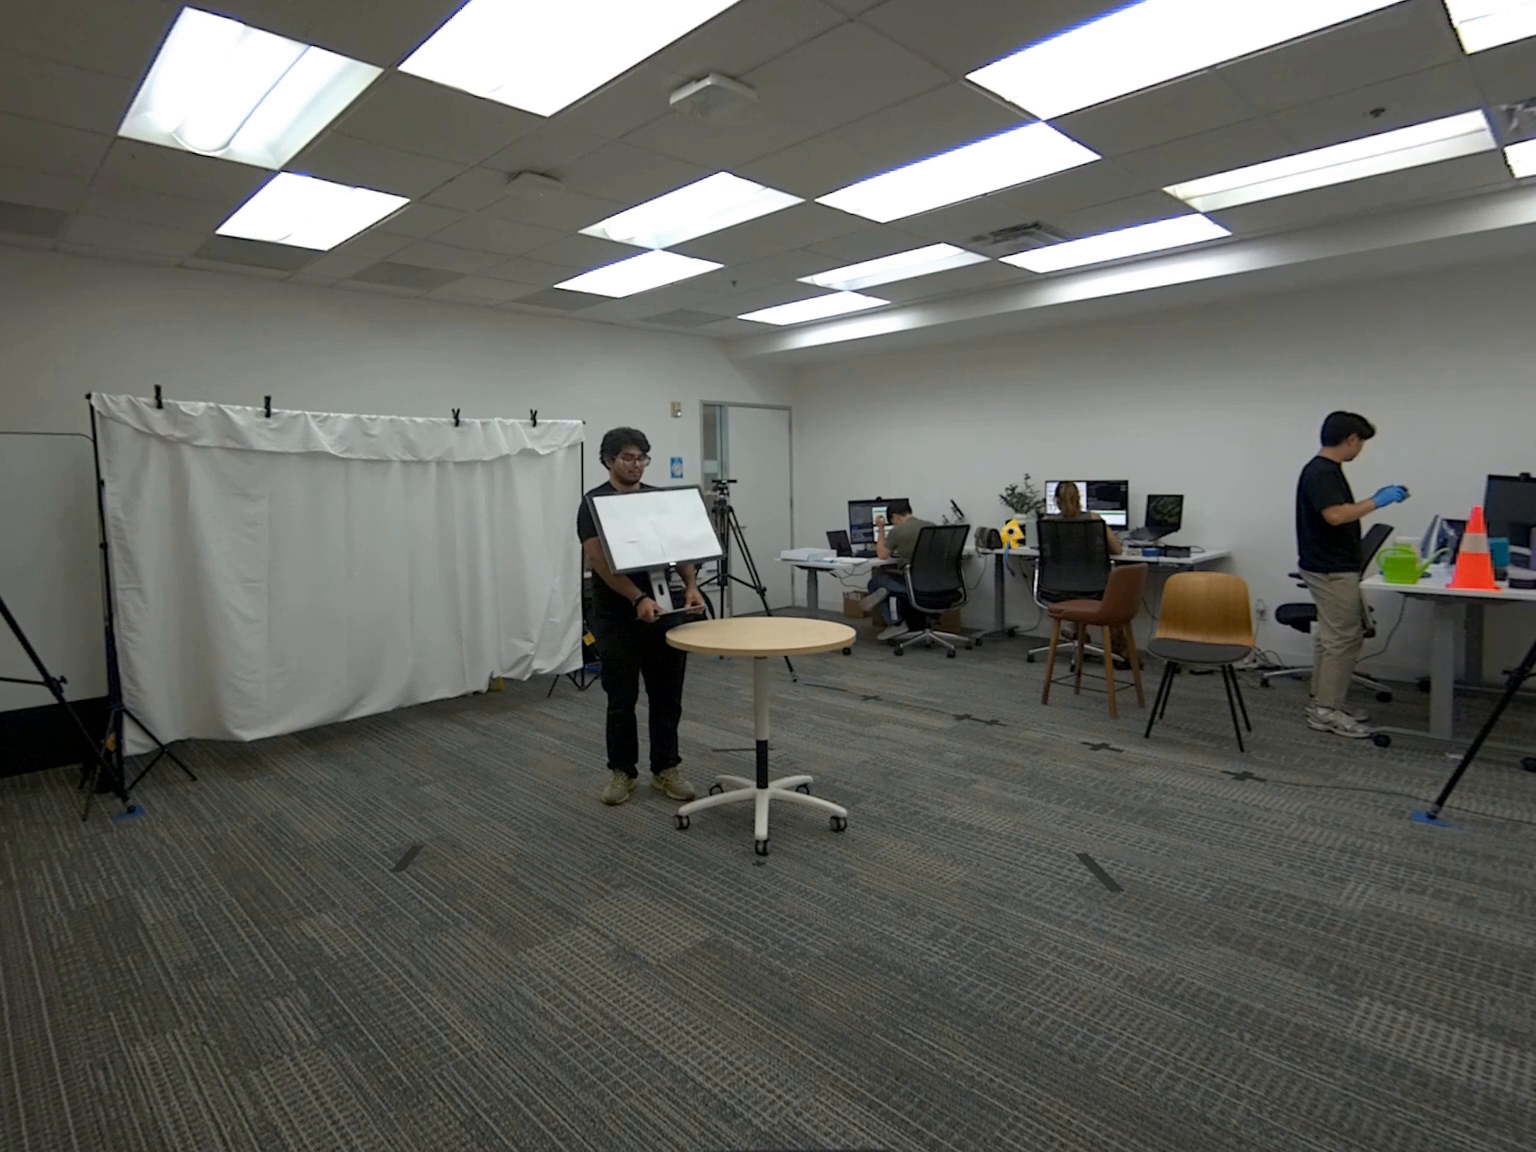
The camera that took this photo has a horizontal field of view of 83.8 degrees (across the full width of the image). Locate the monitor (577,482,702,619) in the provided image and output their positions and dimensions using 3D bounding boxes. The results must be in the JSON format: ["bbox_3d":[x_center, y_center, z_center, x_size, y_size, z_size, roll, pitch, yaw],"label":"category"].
[{"bbox_3d":[-0.471,-0.095,3.622,0.552,0.562,0.212,-9,-15,-37],"label":"monitor"}]
